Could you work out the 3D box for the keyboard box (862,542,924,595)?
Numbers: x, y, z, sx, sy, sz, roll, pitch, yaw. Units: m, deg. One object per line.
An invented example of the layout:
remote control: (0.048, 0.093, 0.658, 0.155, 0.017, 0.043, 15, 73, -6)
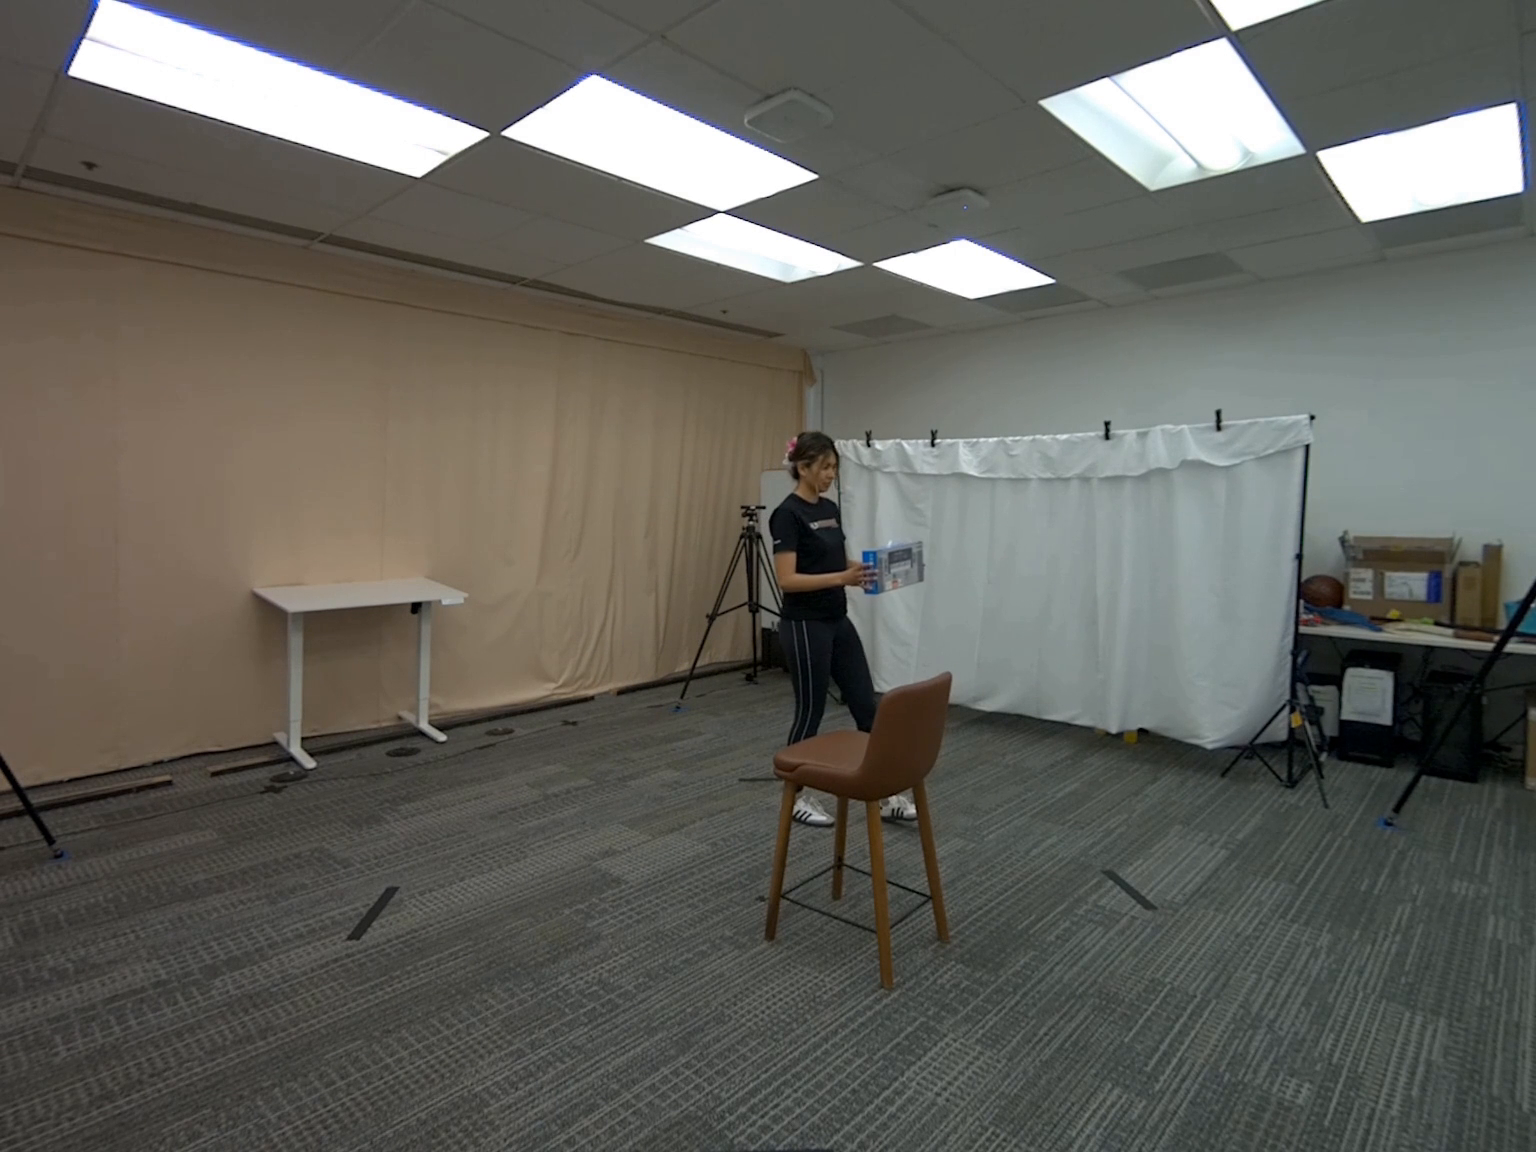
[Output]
keyboard box: (0.525, -0.036, 3.451, 0.061, 0.175, 0.425, 0, 6, 36)
